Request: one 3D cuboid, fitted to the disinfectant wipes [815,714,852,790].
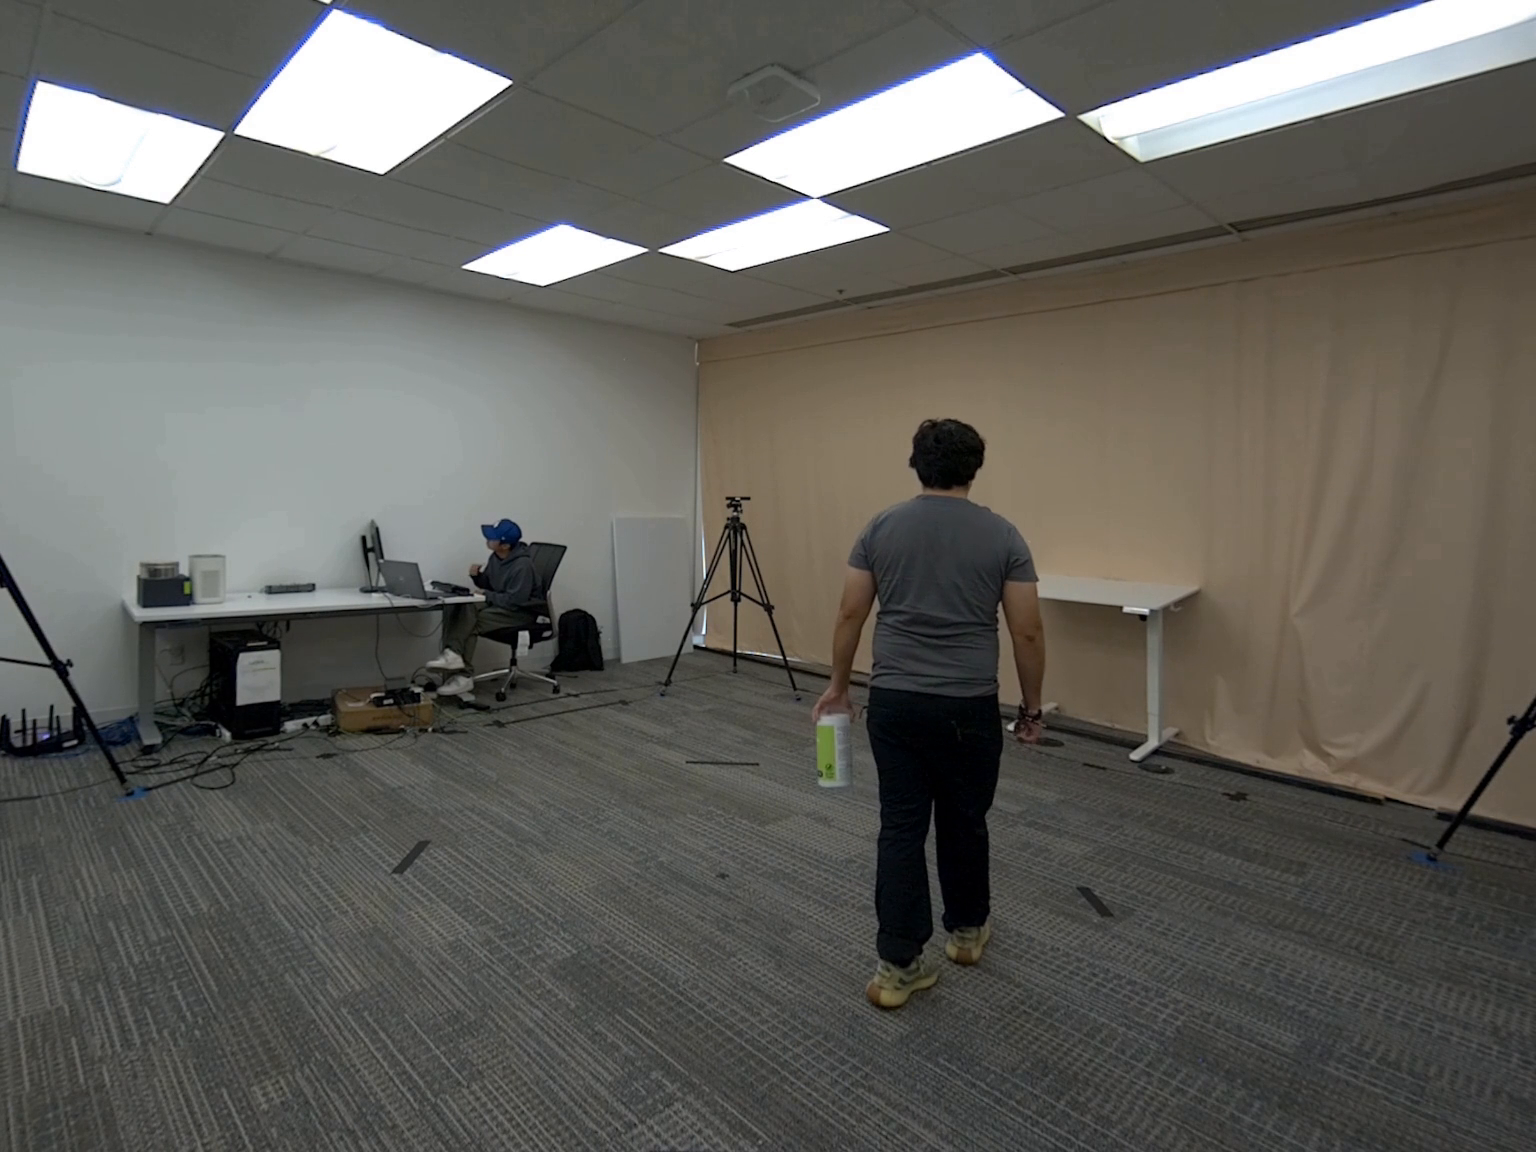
[{"bbox_3d":[0.204,0.546,2.637,0.118,0.218,0.117,-1,-5,-1],"label":"disinfectant wipes"}]
